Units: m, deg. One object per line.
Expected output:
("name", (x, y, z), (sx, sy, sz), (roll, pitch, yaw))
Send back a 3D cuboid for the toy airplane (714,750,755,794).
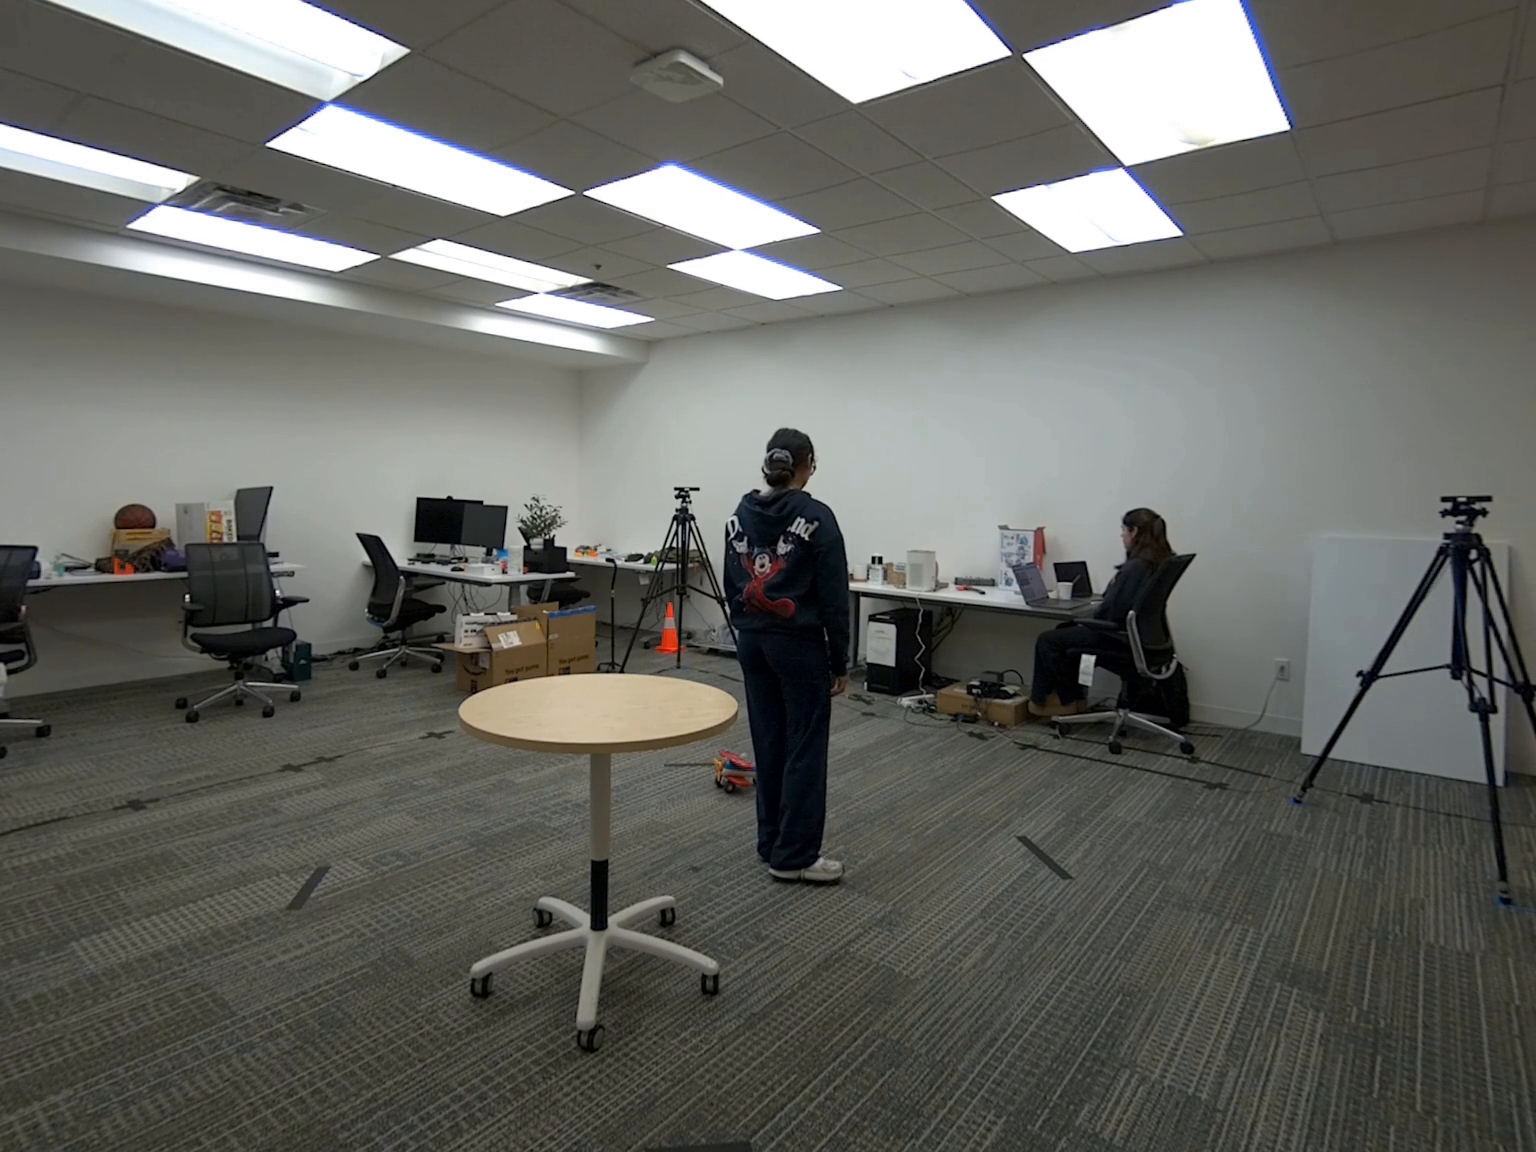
("toy airplane", (-0.137, 0.908, 3.991), (0.259, 0.156, 0.252), (4, 7, 34))
